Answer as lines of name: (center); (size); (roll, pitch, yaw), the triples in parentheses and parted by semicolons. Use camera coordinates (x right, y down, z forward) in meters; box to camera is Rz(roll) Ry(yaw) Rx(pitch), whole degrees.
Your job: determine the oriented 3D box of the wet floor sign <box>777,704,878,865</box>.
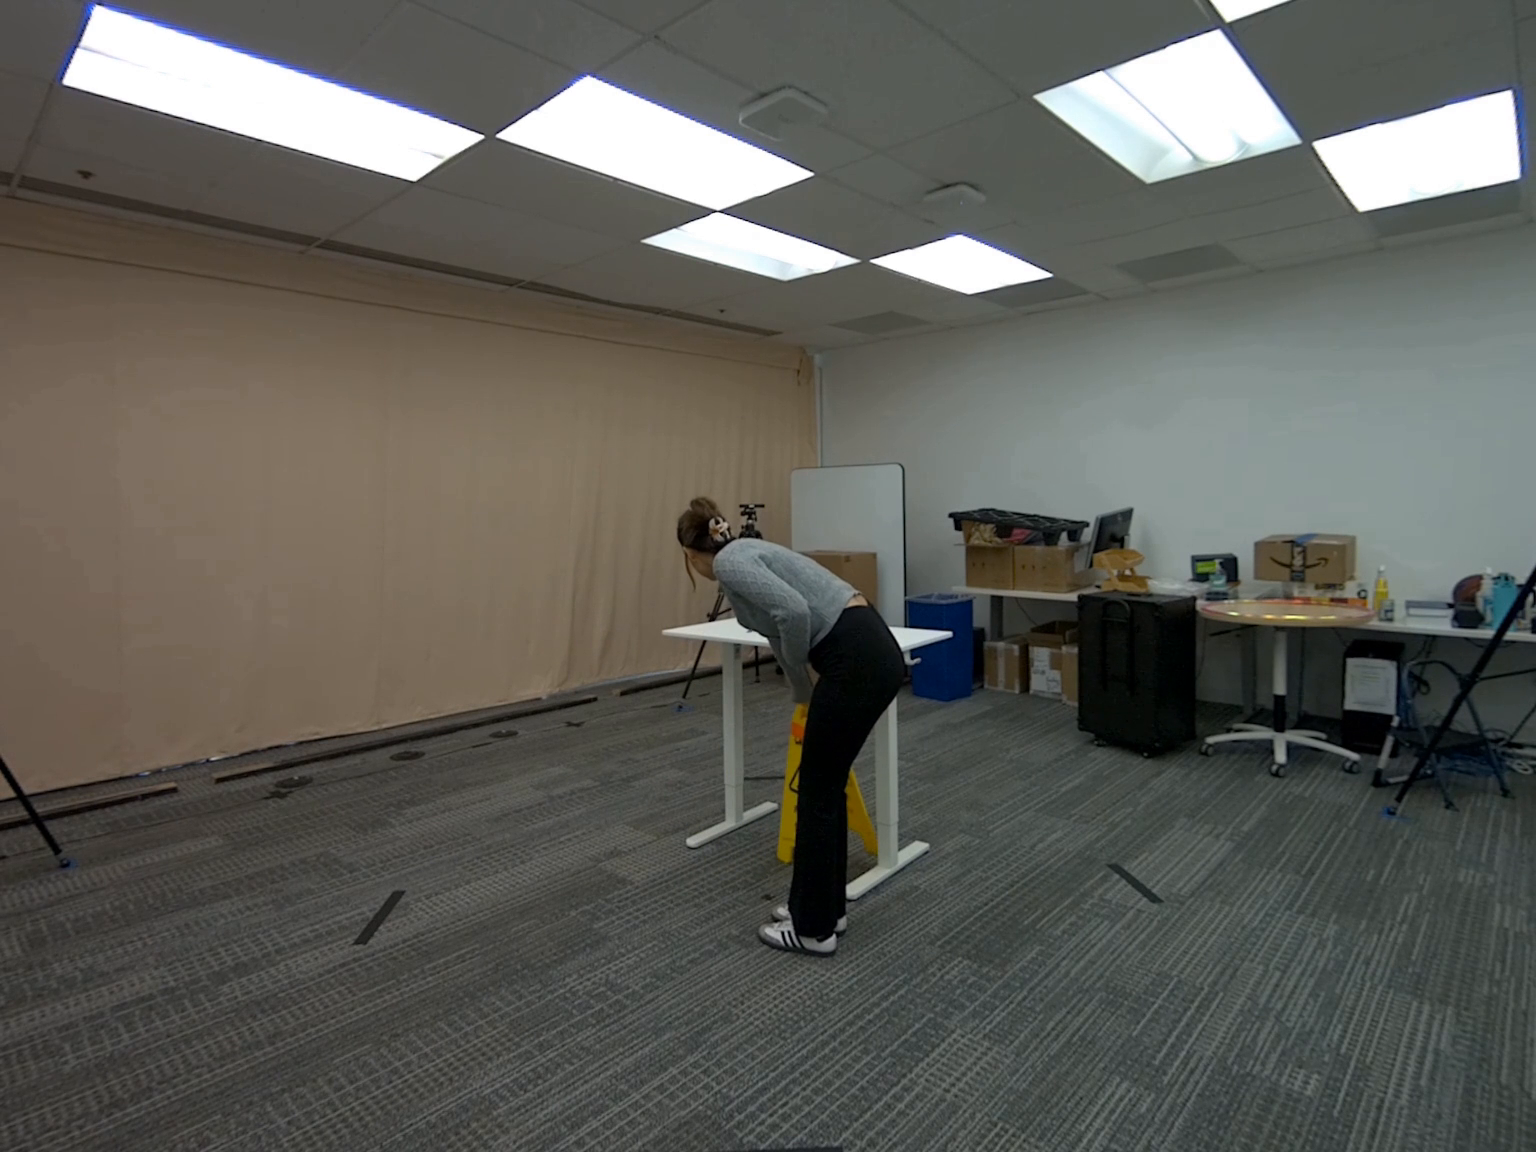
wet floor sign: (0.203, 0.775, 3.242); (0.282, 0.643, 0.291); (-9, 7, -34)
